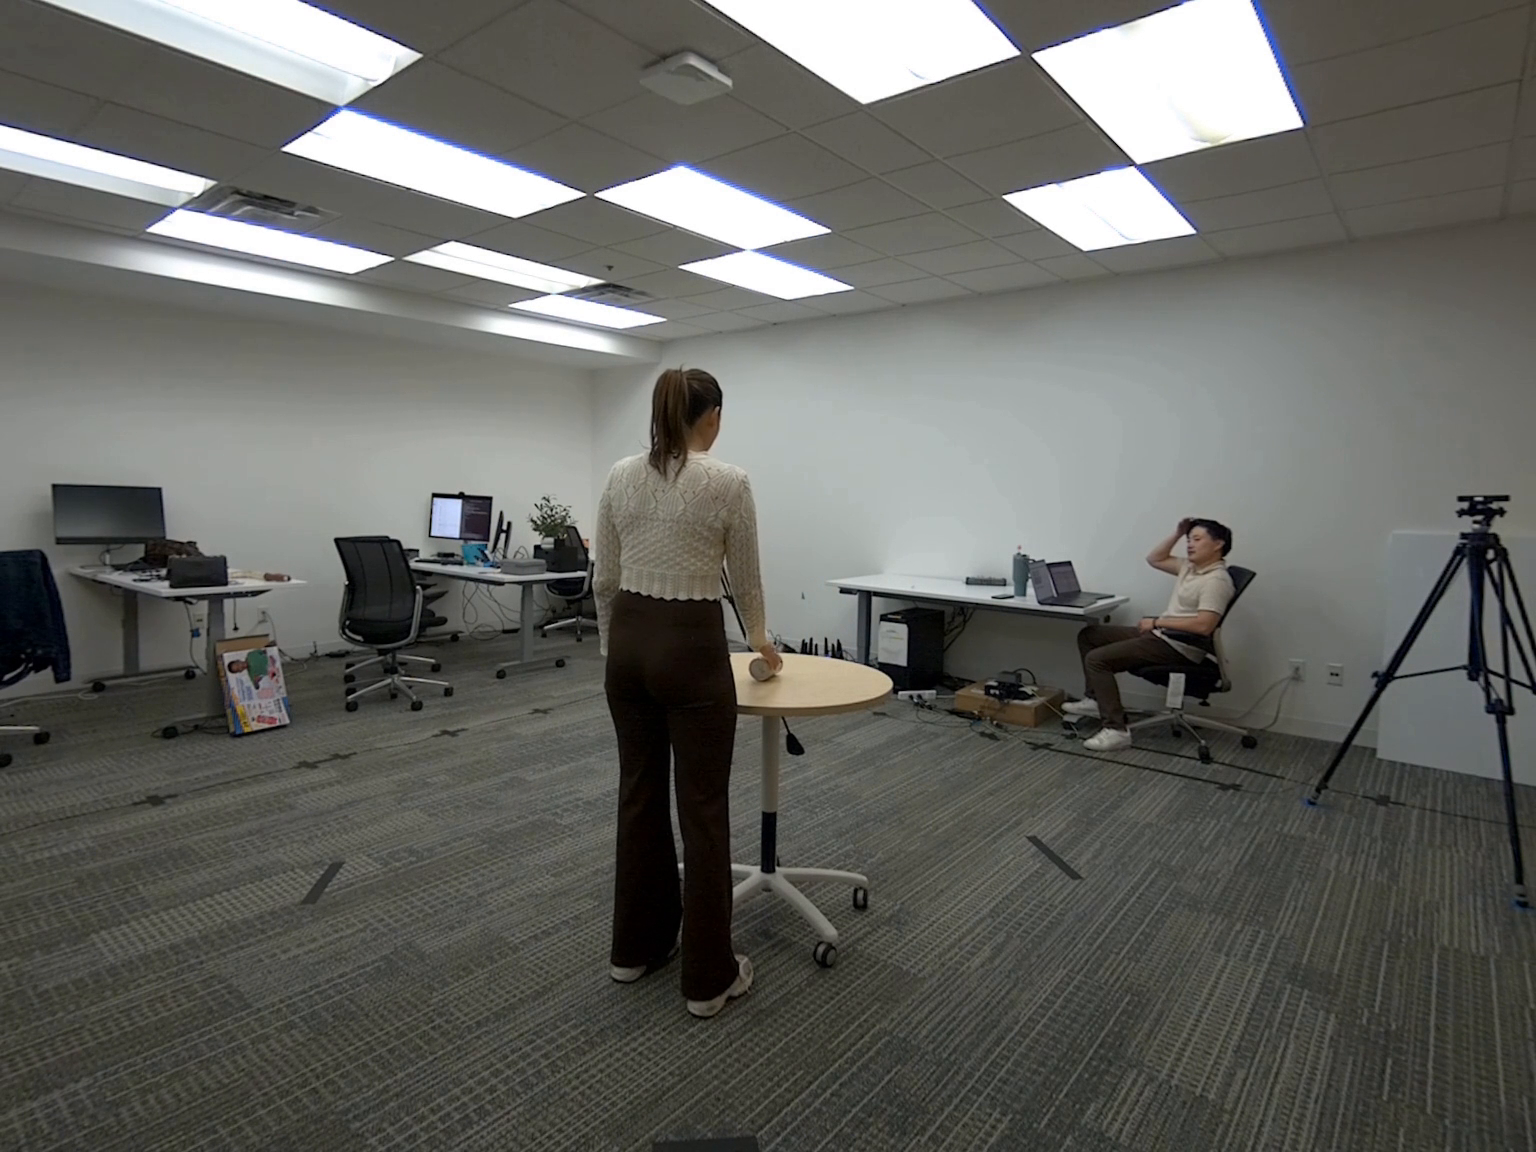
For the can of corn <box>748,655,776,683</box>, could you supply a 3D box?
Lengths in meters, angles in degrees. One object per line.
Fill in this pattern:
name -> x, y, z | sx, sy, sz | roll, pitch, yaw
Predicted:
can of corn -> -0.023, 0.284, 2.731 | 0.076, 0.074, 0.109 | 2, 6, 20
